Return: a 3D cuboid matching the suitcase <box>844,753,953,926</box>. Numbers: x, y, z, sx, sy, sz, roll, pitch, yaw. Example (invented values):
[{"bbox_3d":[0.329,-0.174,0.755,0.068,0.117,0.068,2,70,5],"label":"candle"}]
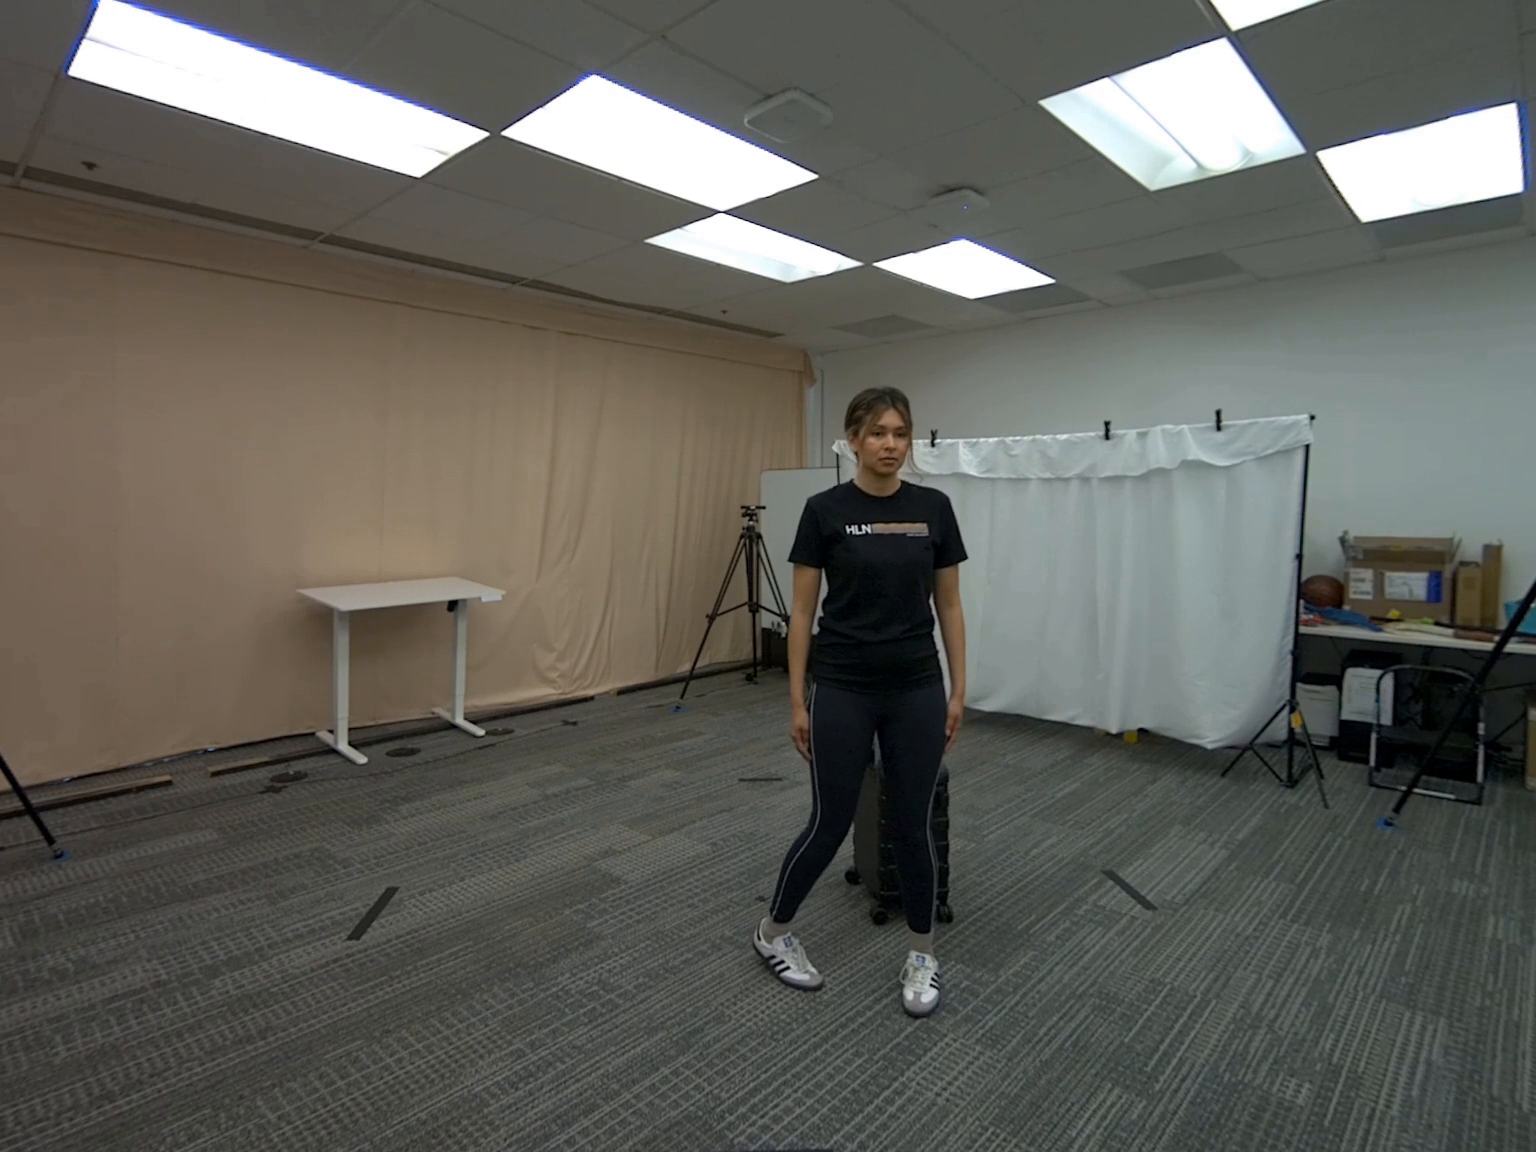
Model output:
[{"bbox_3d":[0.471,0.672,2.950,0.255,0.977,0.388,2,3,-8],"label":"suitcase"}]
